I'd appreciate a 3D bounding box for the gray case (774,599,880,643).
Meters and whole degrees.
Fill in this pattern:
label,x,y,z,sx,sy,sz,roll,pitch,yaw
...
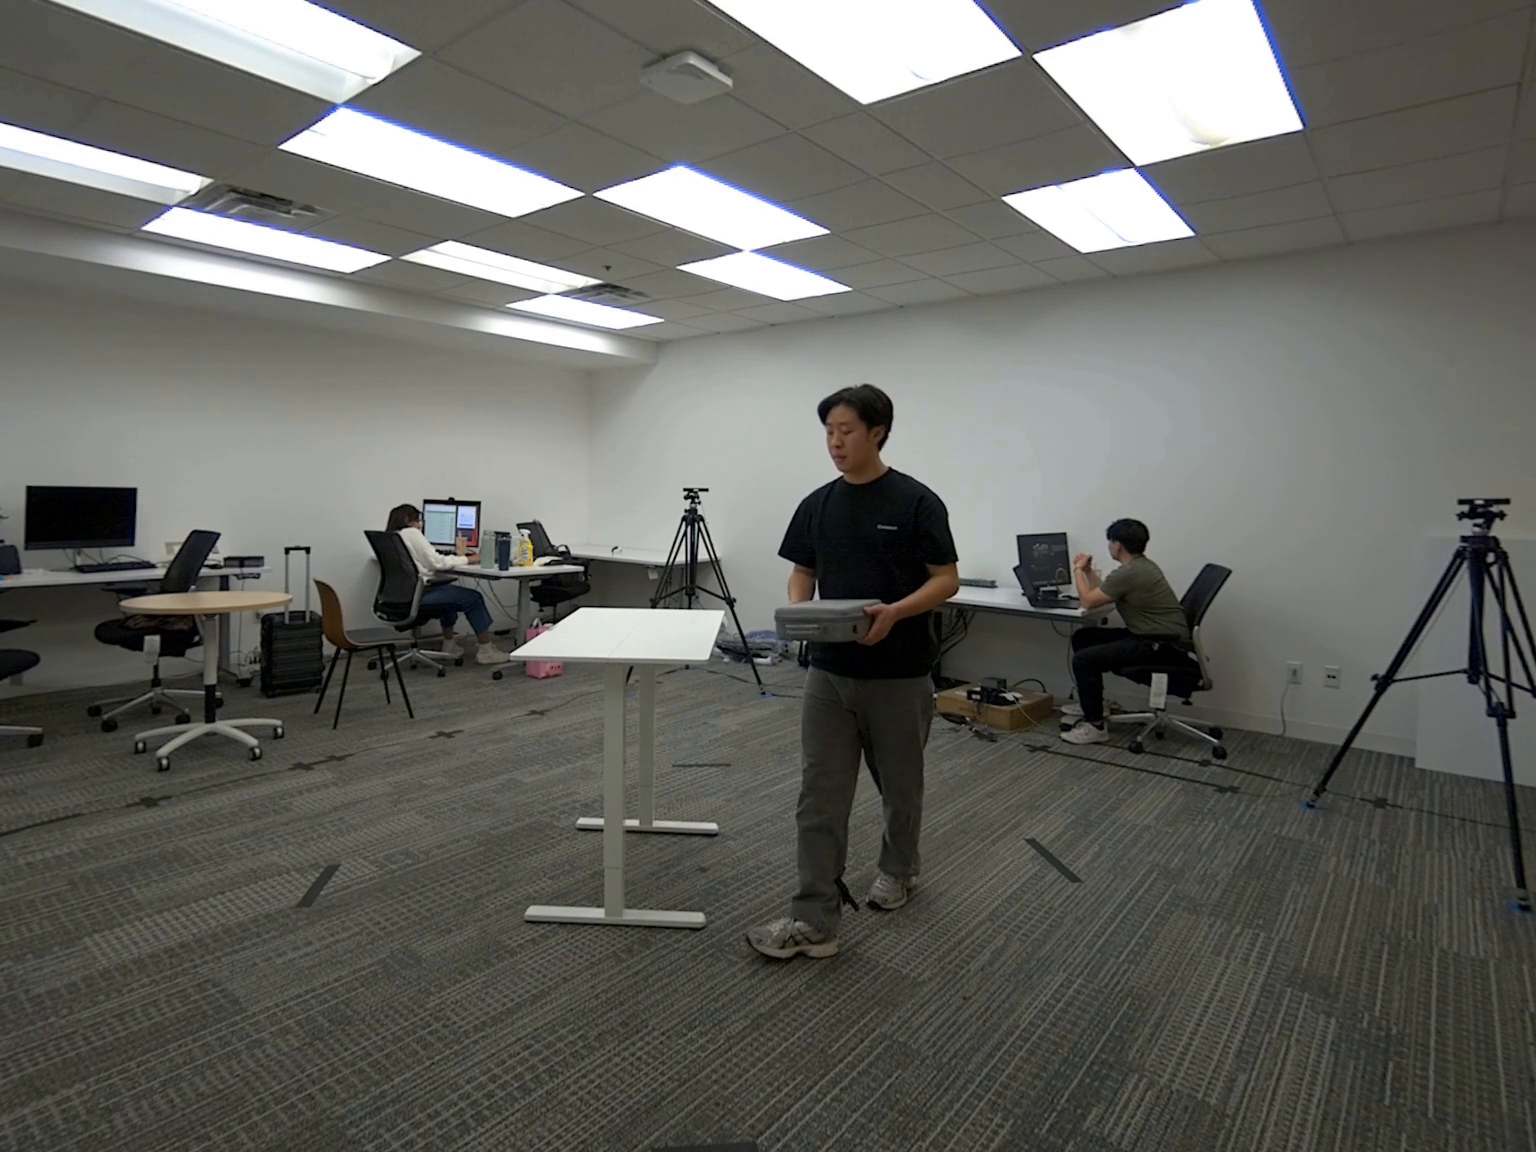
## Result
label,x,y,z,sx,sy,sz,roll,pitch,yaw
gray case,0.163,0.123,2.519,0.271,0.103,0.279,-3,3,38
